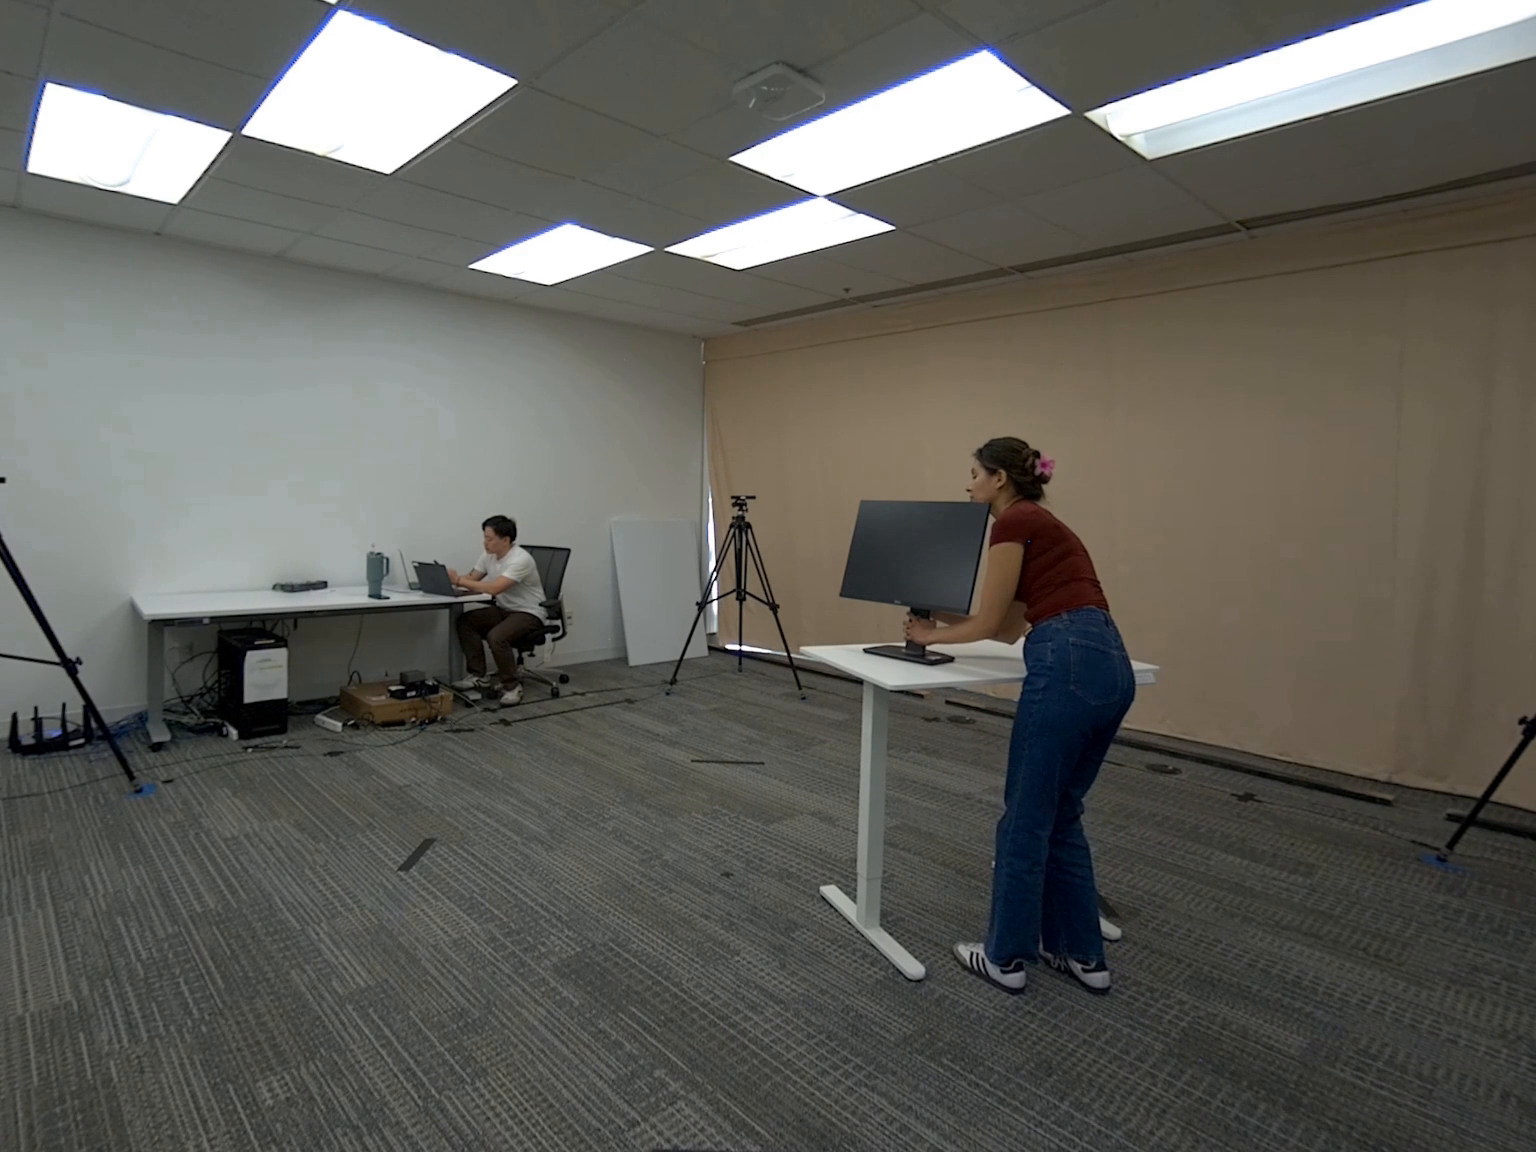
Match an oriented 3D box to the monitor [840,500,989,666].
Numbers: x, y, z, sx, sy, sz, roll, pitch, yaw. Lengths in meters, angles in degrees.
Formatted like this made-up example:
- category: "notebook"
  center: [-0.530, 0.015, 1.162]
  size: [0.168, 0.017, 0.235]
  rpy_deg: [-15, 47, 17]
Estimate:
- category: "monitor"
  center: [0.479, 0.017, 2.767]
  size: [0.182, 0.522, 0.553]
  rpy_deg: [2, 3, -40]
